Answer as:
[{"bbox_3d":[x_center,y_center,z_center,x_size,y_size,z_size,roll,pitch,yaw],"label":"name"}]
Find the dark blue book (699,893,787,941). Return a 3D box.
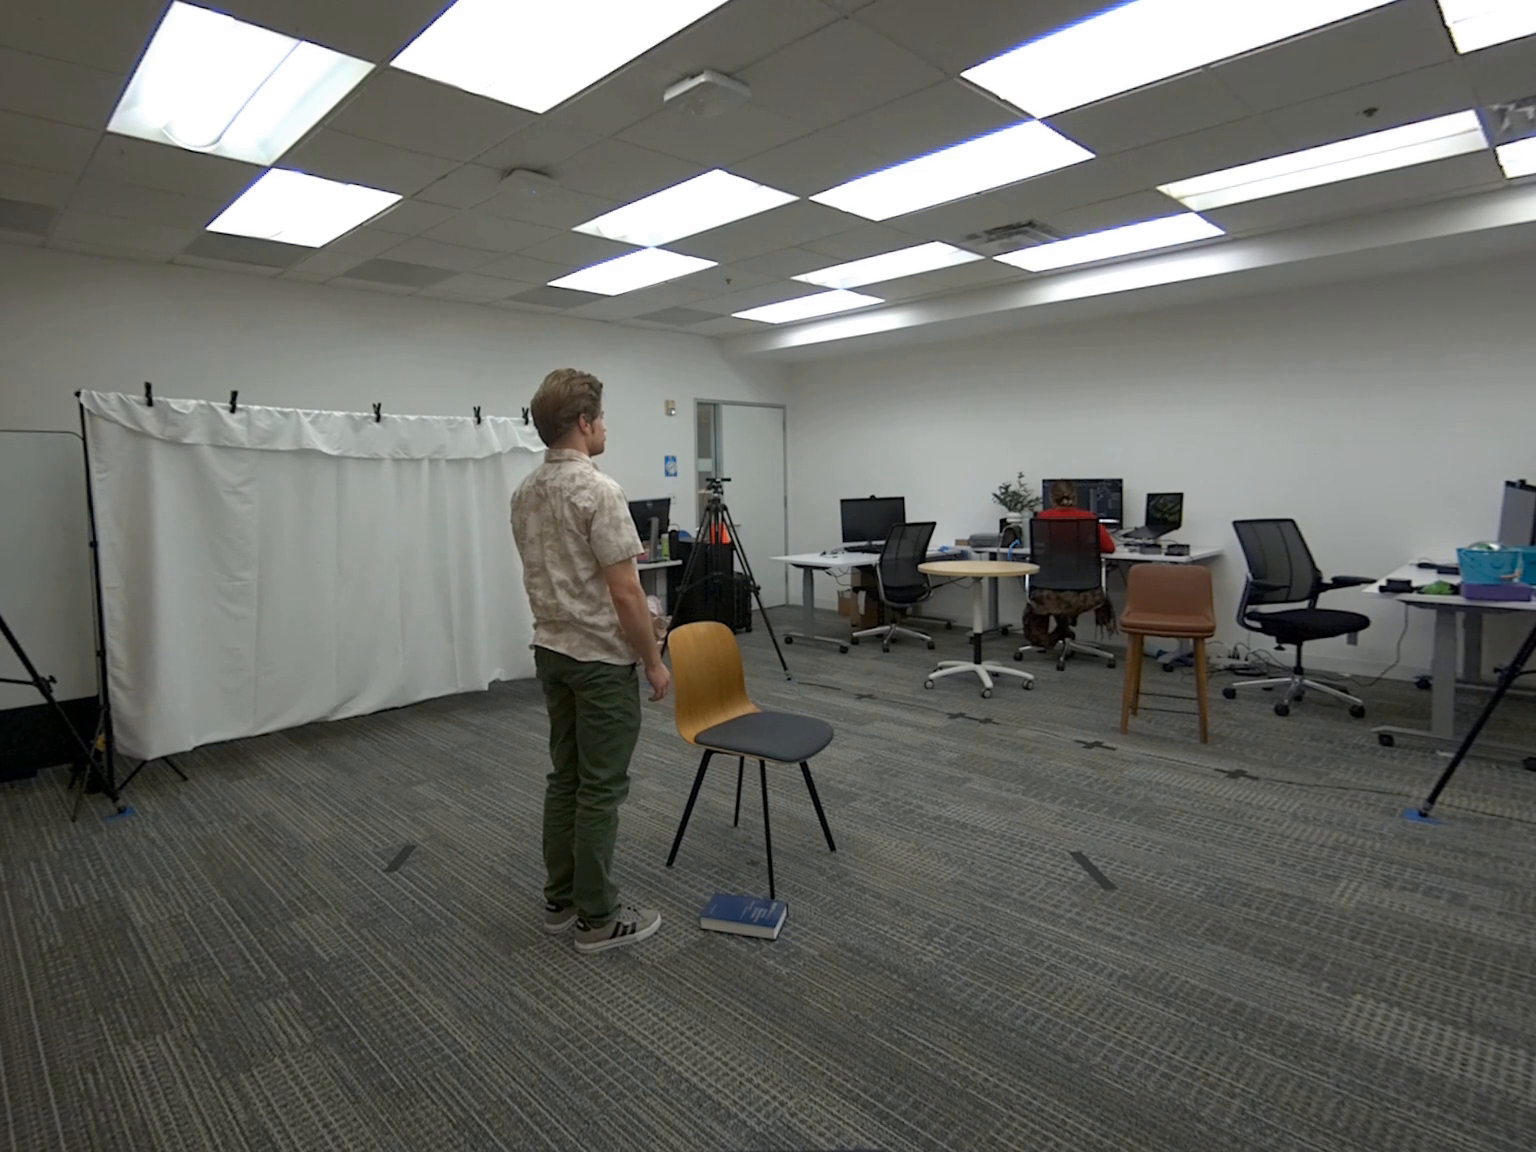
[{"bbox_3d":[-0.073,1.064,2.686,0.249,0.045,0.162,1,8,17],"label":"dark blue book"}]
